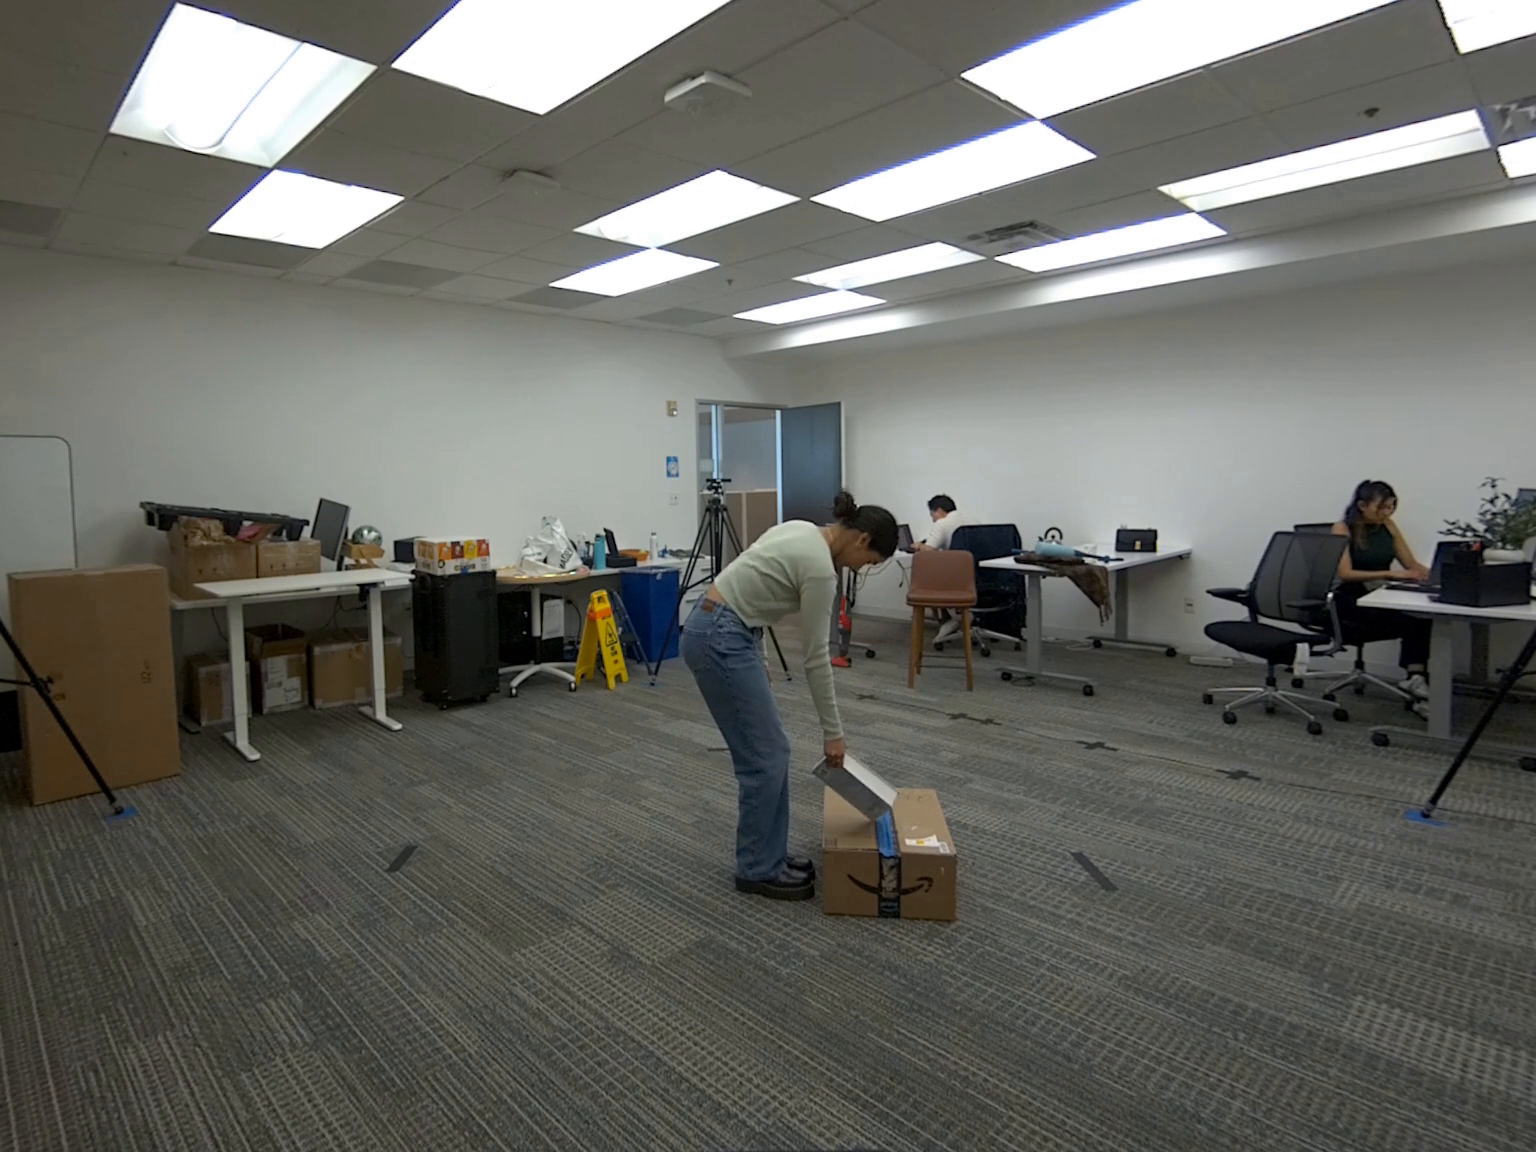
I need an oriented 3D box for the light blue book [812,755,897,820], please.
[{"bbox_3d":[0.284,0.692,2.883,0.059,0.265,0.189,-46,-12,-33],"label":"light blue book"}]
